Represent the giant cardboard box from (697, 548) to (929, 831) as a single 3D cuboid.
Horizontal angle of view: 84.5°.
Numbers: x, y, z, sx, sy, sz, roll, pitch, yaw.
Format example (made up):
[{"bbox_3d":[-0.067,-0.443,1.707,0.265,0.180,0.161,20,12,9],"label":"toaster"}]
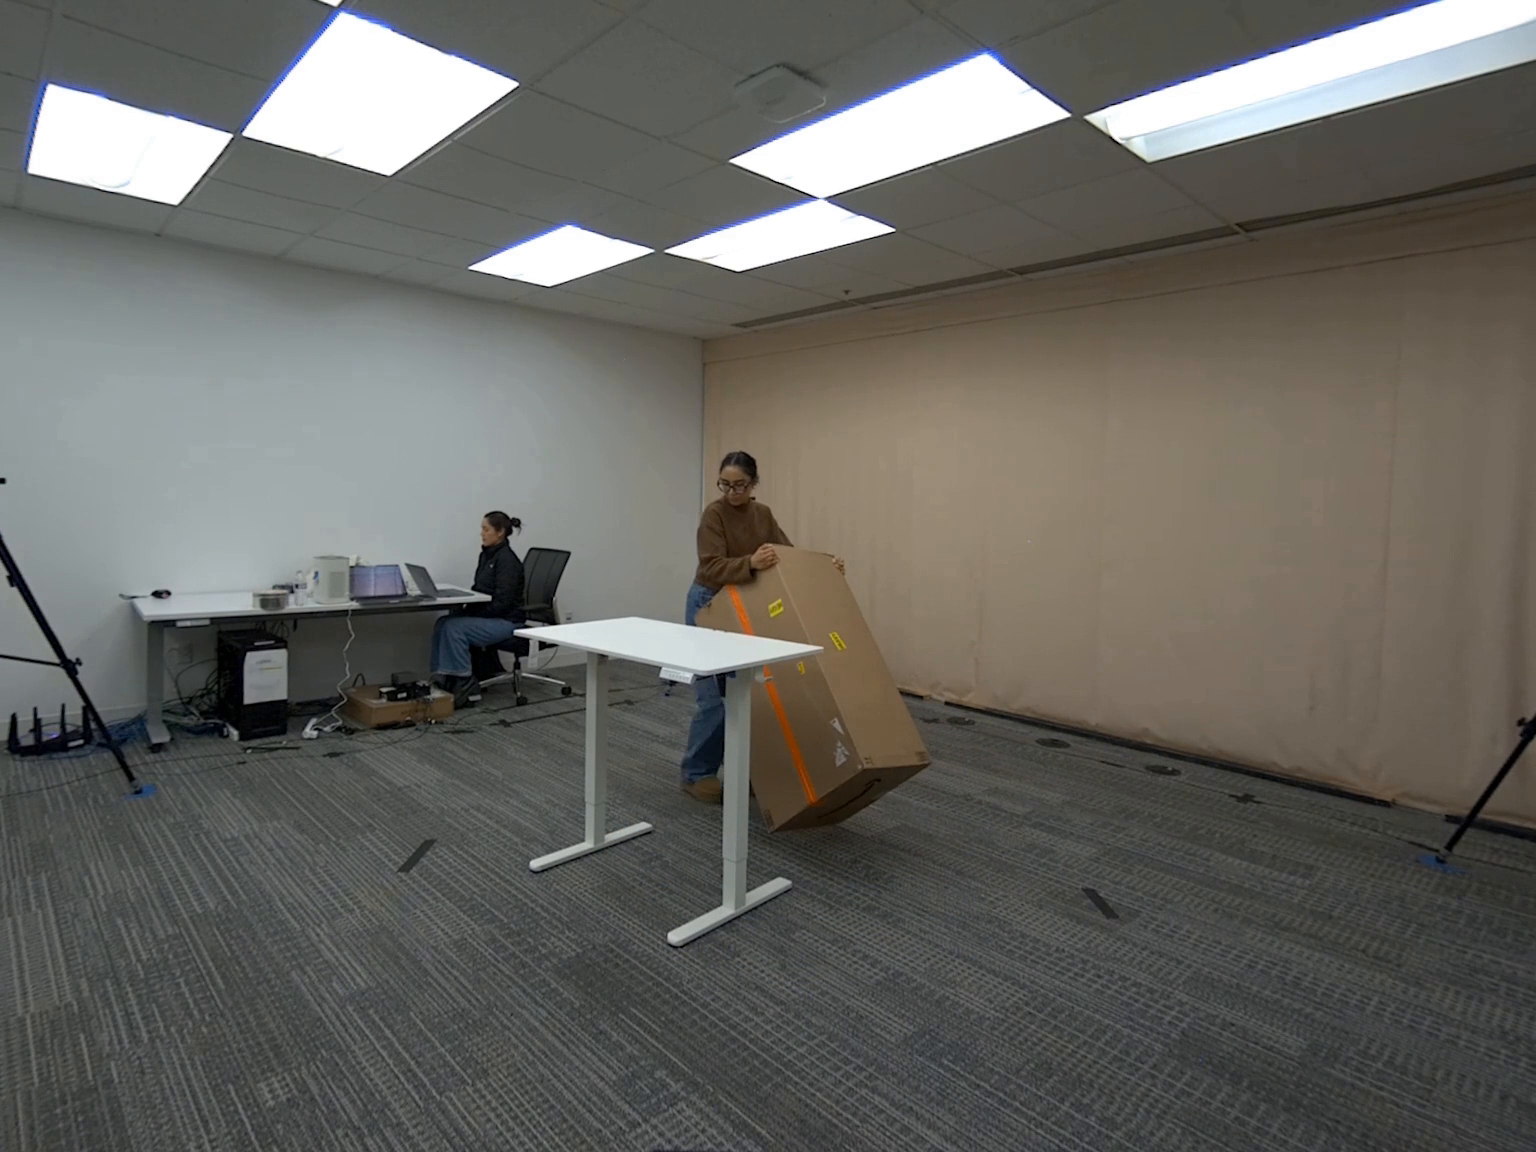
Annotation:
[{"bbox_3d":[0.152,0.467,3.579,0.415,1.052,0.578,8,-42,-42],"label":"giant cardboard box"}]
